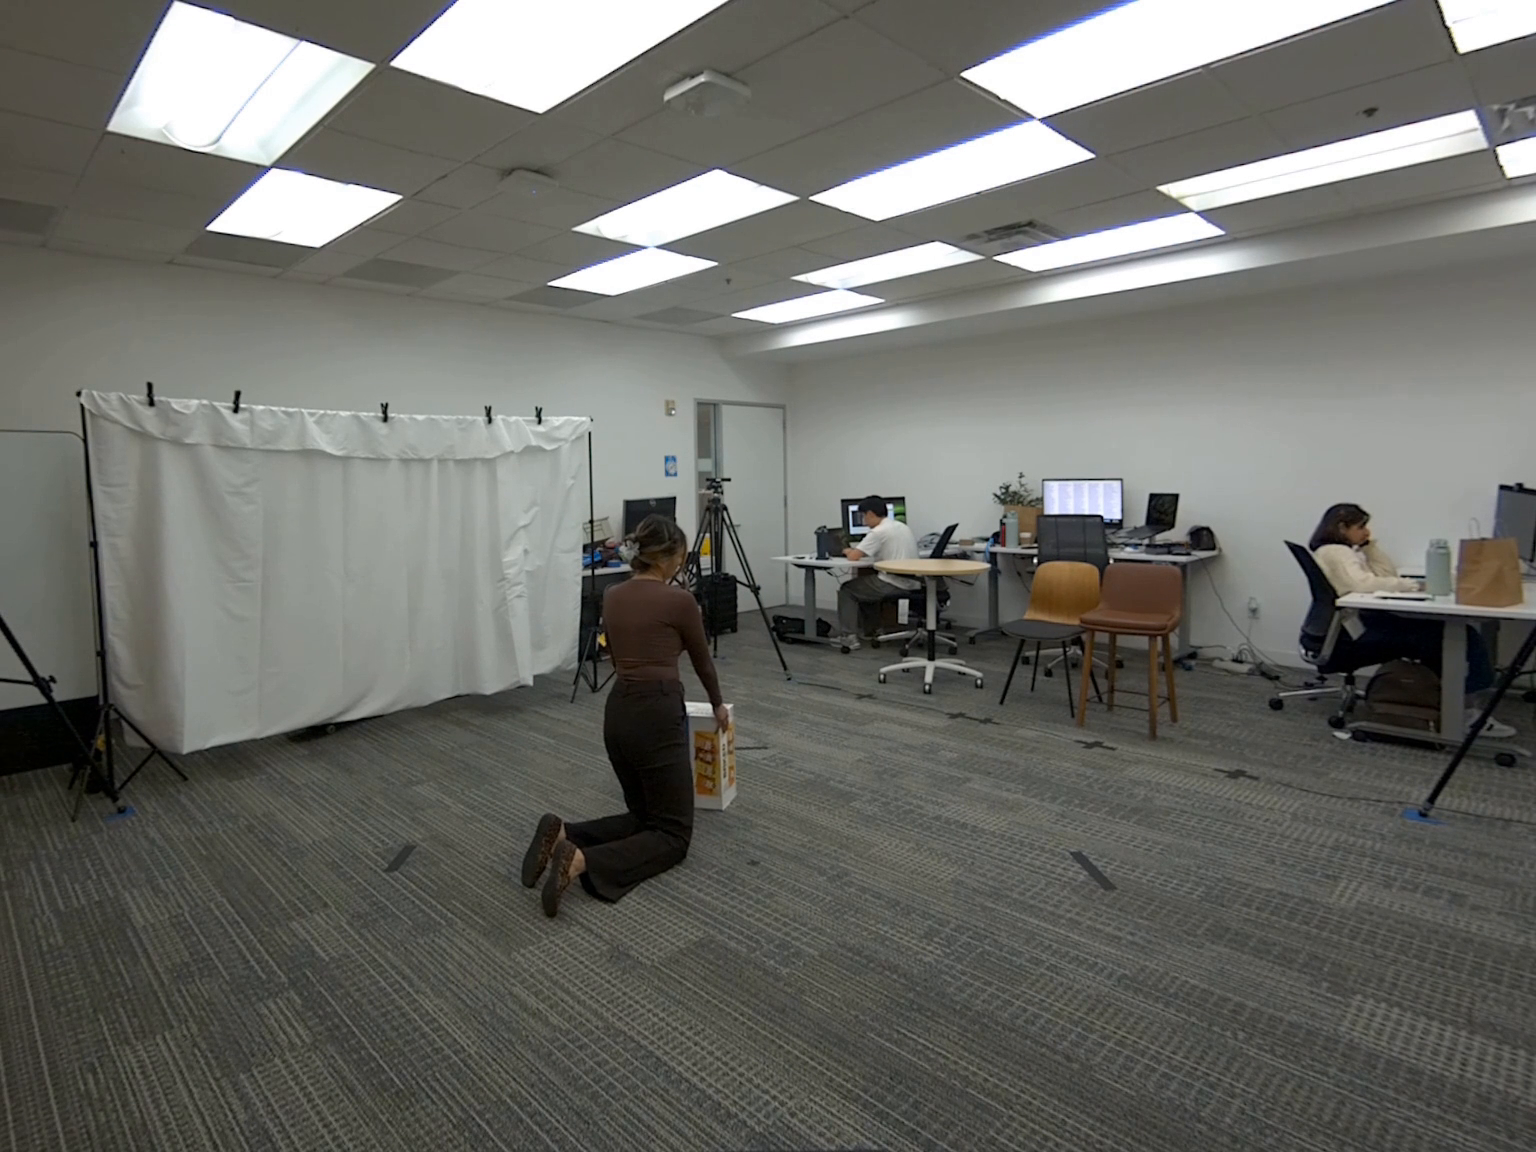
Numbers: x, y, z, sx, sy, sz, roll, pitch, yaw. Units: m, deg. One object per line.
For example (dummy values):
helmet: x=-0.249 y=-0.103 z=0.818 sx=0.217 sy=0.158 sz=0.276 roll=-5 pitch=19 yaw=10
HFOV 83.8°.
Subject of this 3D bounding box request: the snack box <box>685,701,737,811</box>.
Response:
snack box: x=-0.335 y=0.774 z=3.727 sx=0.346 sy=0.404 sz=0.203 roll=0 pitch=4 yaw=17
